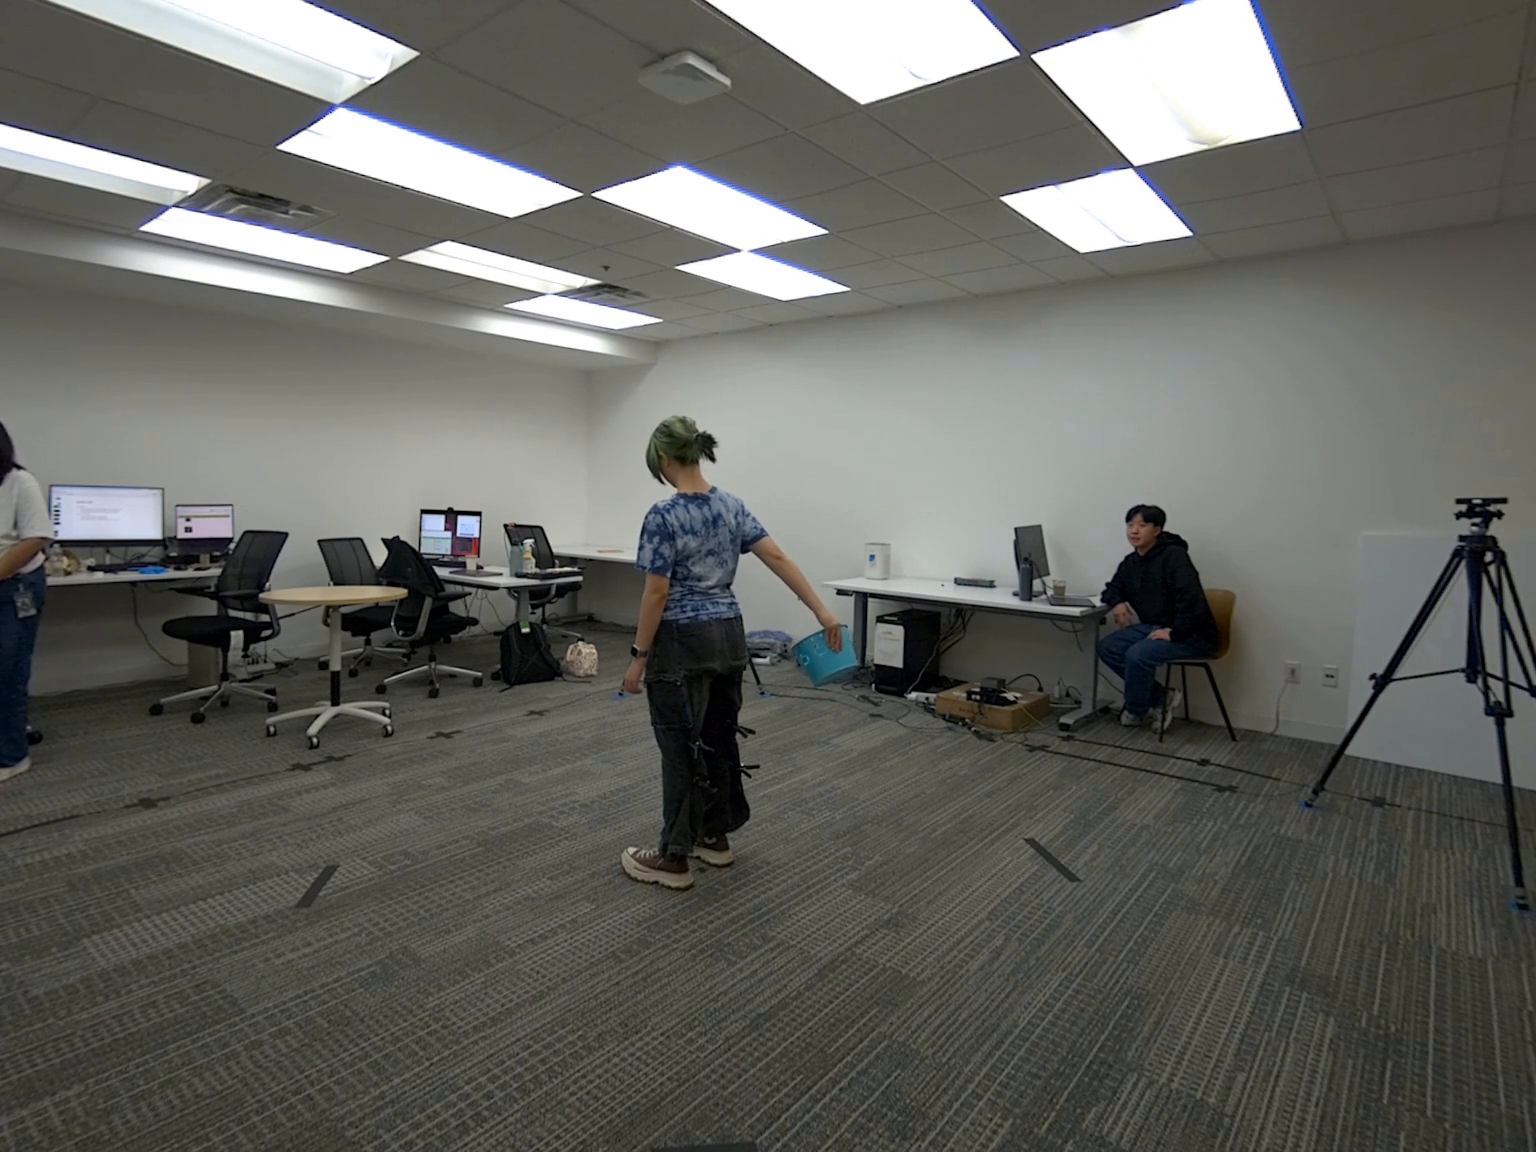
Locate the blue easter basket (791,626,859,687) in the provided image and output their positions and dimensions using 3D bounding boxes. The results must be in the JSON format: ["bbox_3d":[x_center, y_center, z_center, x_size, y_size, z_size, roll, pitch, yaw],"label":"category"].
[{"bbox_3d":[0.205,0.299,3.122,0.242,0.160,0.239,-19,-19,-9],"label":"blue easter basket"}]
